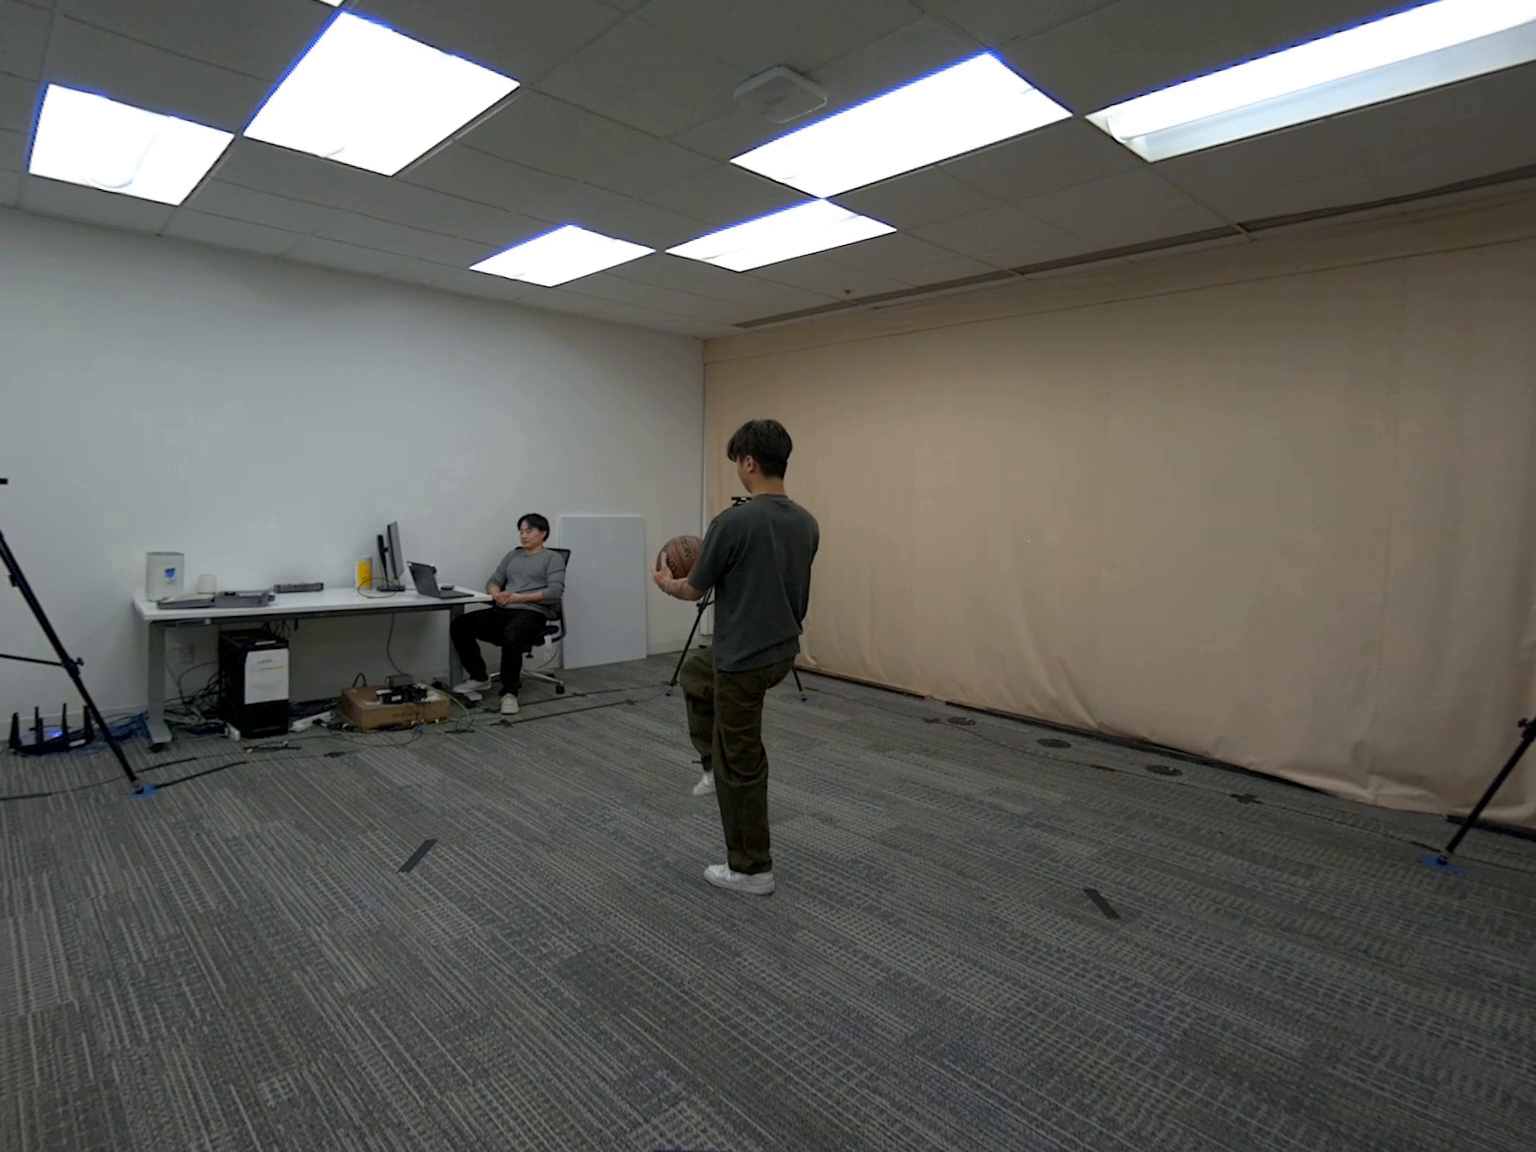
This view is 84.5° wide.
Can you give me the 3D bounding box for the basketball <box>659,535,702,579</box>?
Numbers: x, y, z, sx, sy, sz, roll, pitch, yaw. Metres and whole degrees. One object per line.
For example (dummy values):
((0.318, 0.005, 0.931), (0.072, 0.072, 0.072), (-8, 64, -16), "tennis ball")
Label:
((-0.322, -0.045, 3.278), (0.236, 0.235, 0.237), (1, 4, -1), "basketball")
